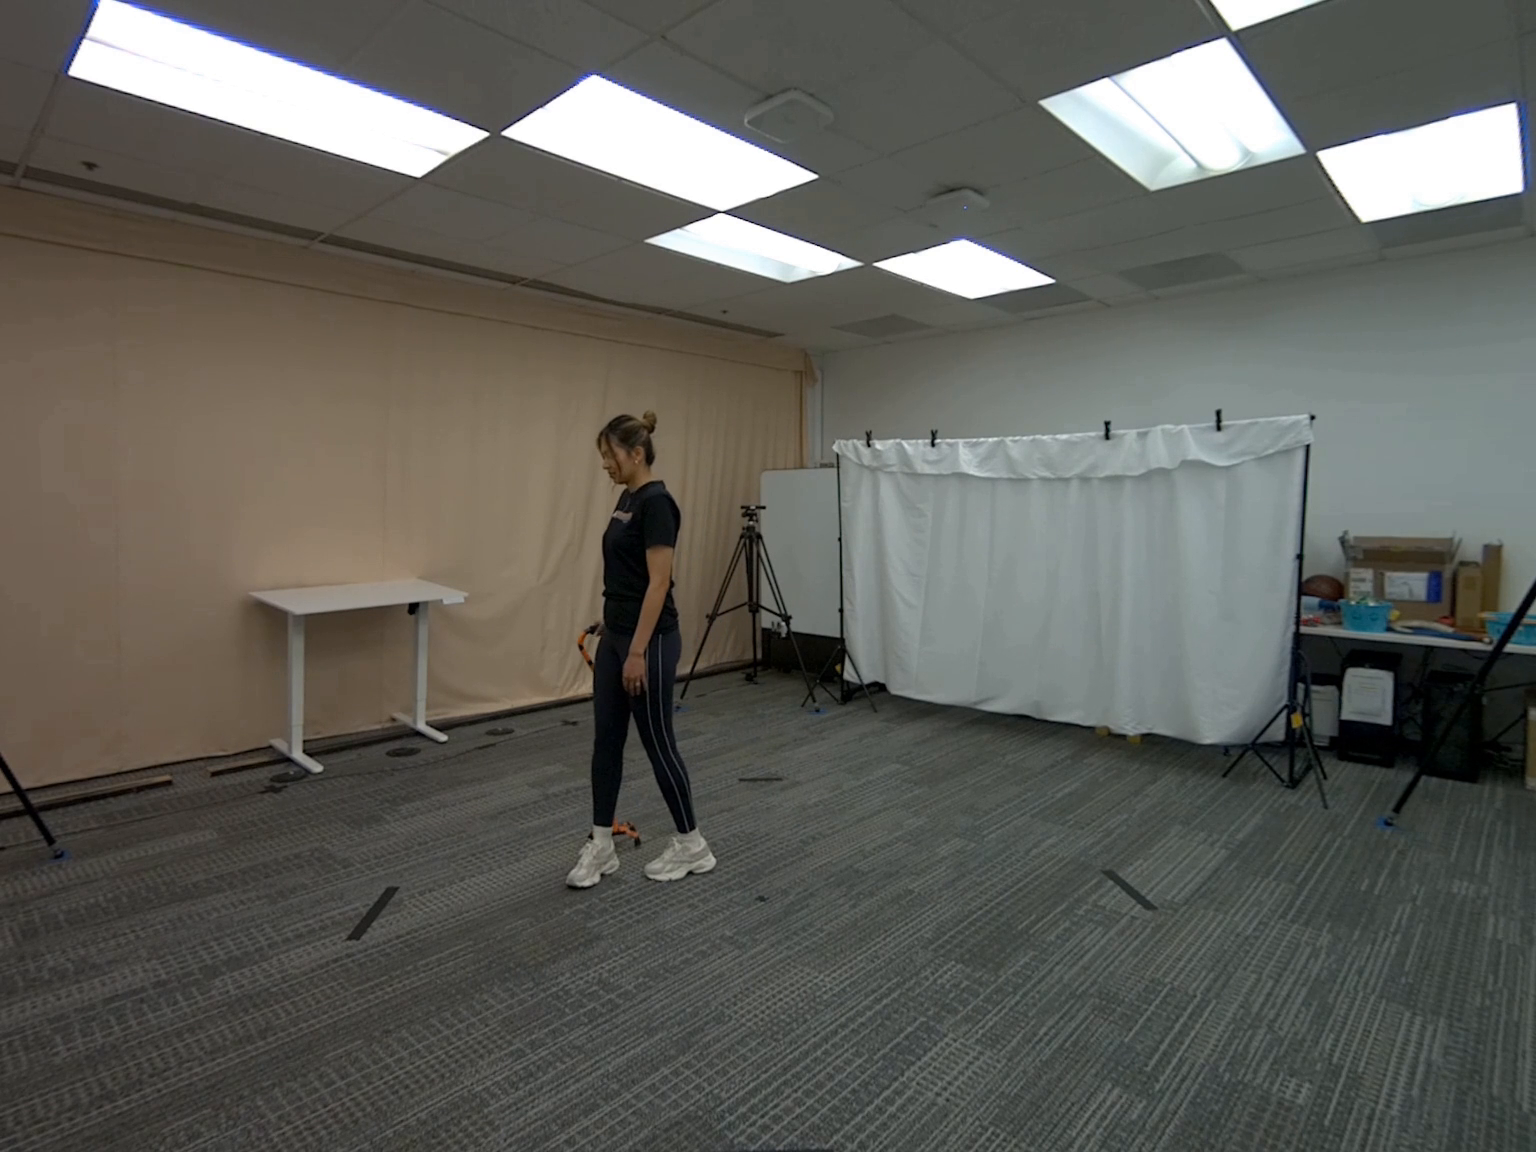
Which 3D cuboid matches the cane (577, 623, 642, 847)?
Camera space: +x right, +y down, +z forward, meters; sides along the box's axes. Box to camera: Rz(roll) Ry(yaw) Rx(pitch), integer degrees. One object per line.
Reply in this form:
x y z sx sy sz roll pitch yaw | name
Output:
-0.675 0.653 3.442 0.203 0.905 0.154 -6 4 -17 | cane
